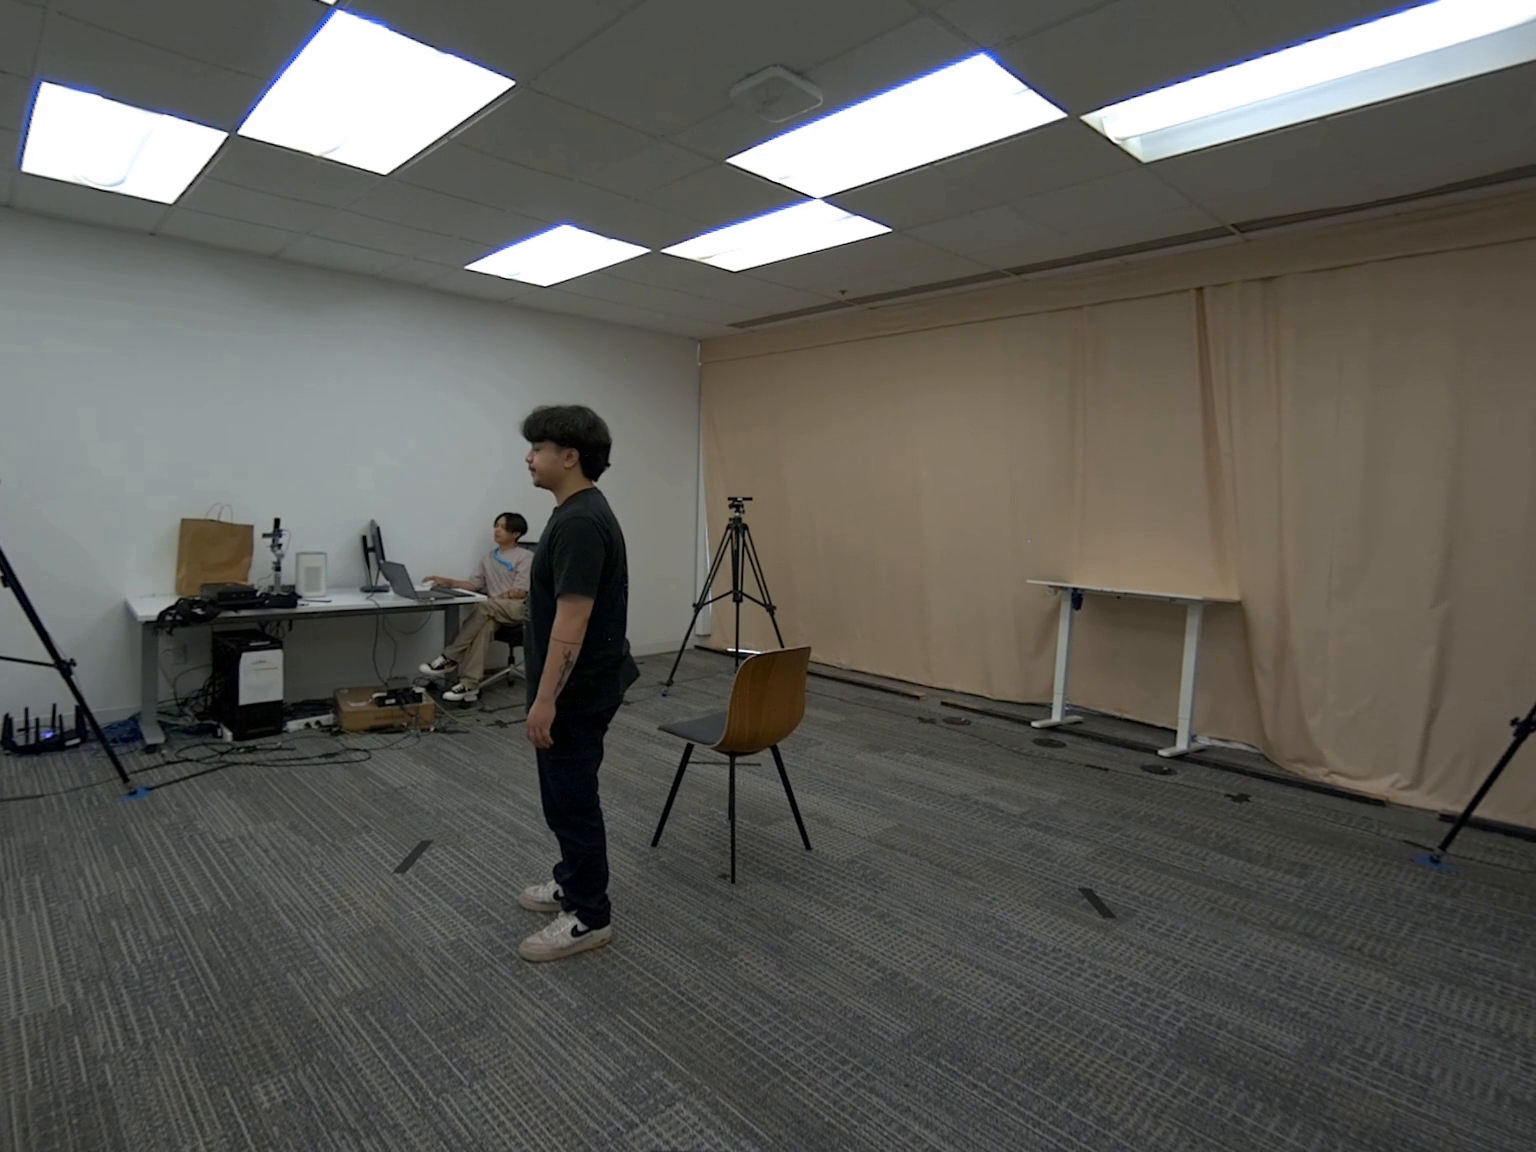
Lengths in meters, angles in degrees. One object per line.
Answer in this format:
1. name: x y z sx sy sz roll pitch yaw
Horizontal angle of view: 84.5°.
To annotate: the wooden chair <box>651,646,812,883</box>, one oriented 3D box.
1. wooden chair: -0.145 0.660 3.327 0.537 0.873 0.467 10 9 42
